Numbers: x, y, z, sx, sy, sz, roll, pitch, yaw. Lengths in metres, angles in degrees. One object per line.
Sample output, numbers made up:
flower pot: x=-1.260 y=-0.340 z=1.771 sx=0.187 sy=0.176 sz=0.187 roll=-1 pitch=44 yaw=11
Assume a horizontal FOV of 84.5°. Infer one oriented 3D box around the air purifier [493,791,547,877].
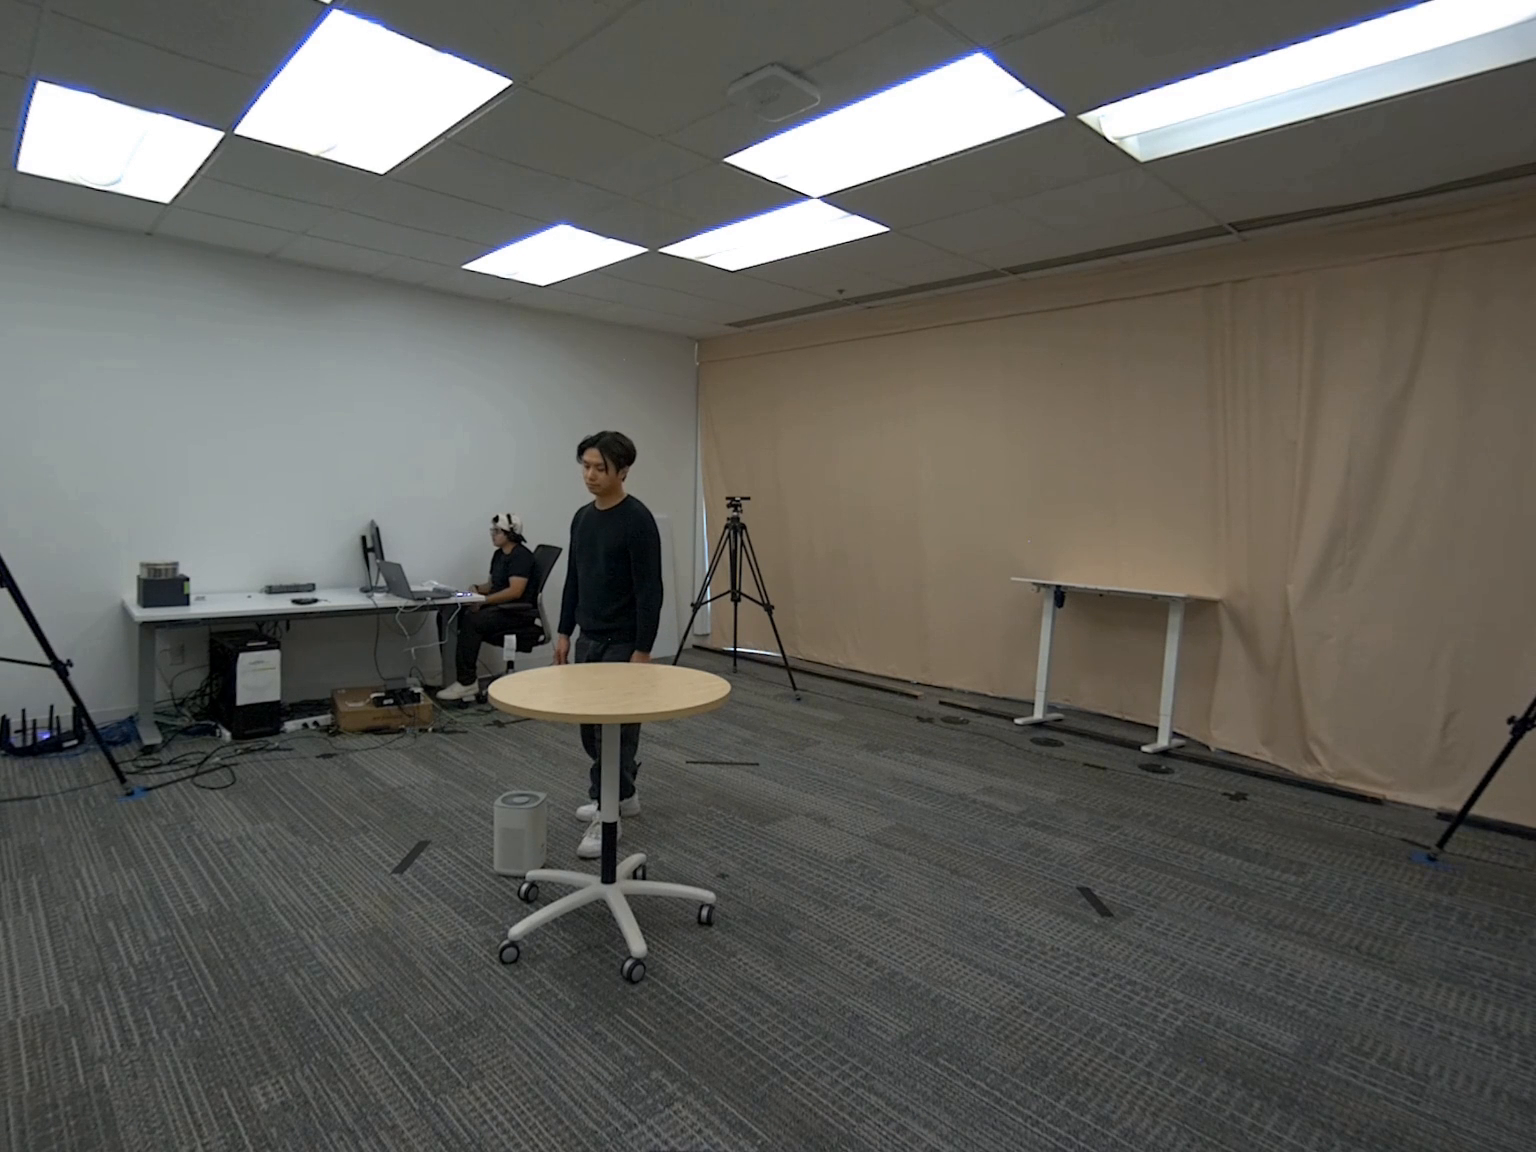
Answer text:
air purifier: x=-0.925 y=0.958 z=3.112 sx=0.172 sy=0.265 sz=0.170 roll=2 pitch=4 yaw=5
